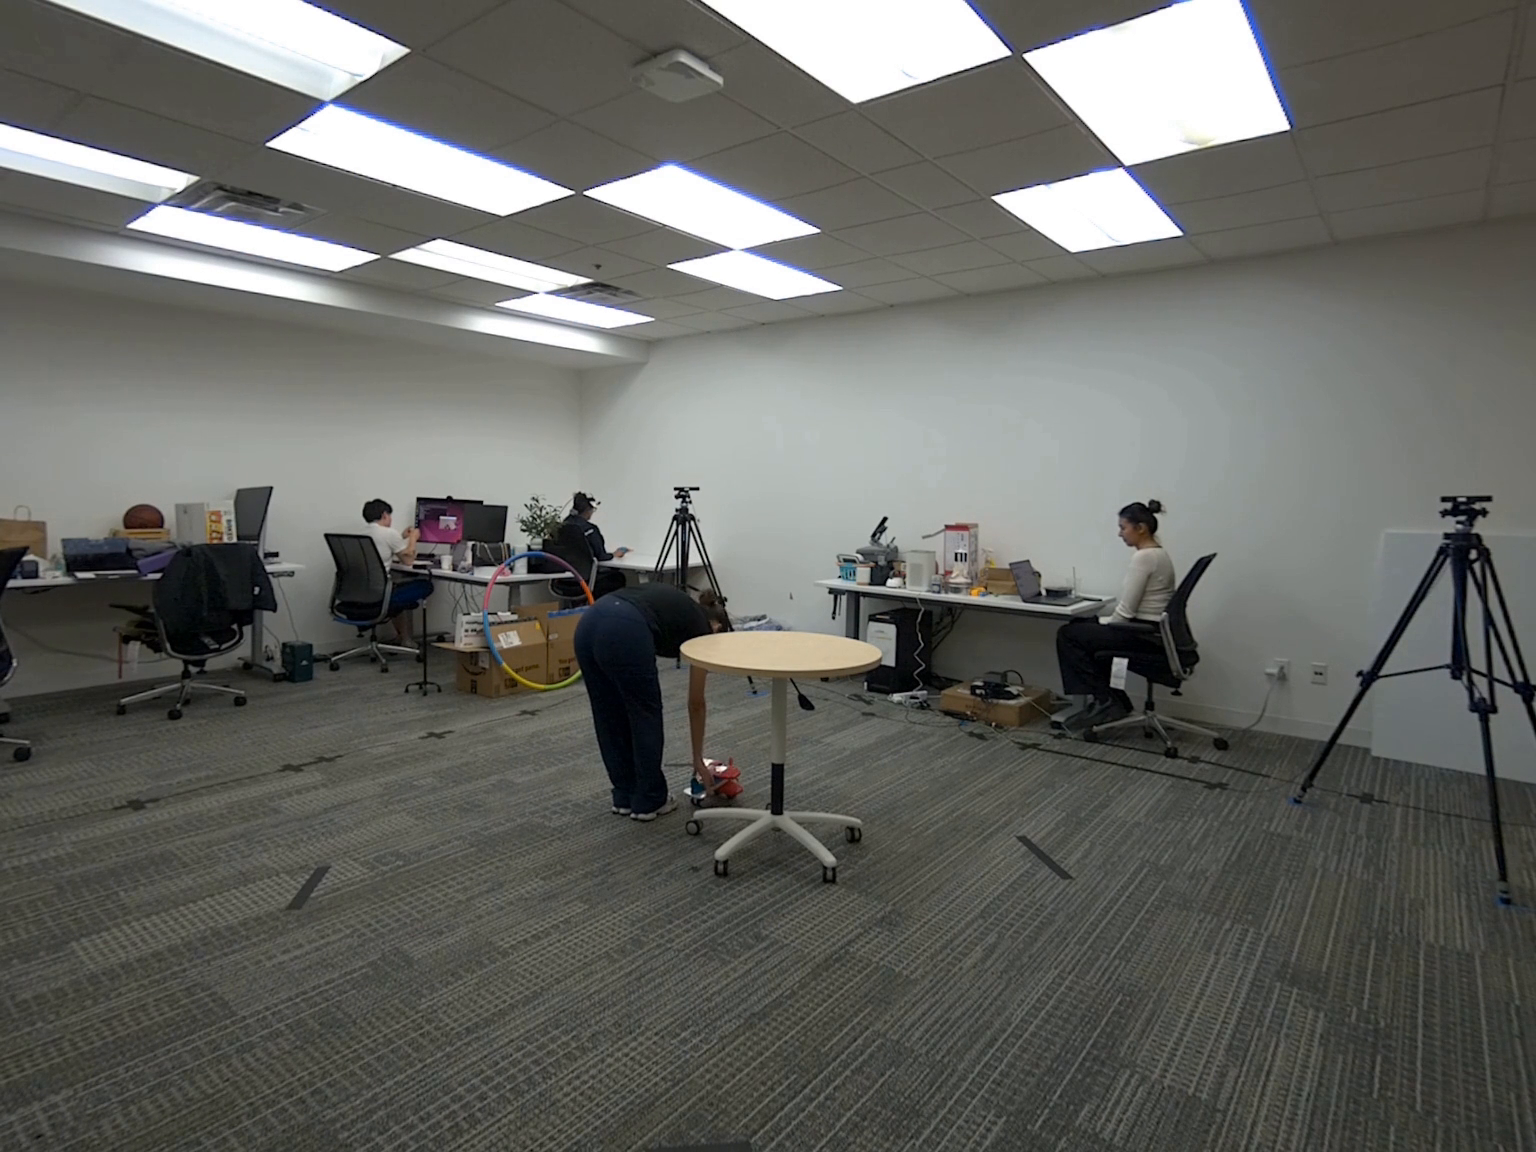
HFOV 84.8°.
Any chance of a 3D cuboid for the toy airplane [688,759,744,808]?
[{"bbox_3d":[-0.219,0.931,3.803,0.255,0.156,0.255,2,3,15],"label":"toy airplane"}]
